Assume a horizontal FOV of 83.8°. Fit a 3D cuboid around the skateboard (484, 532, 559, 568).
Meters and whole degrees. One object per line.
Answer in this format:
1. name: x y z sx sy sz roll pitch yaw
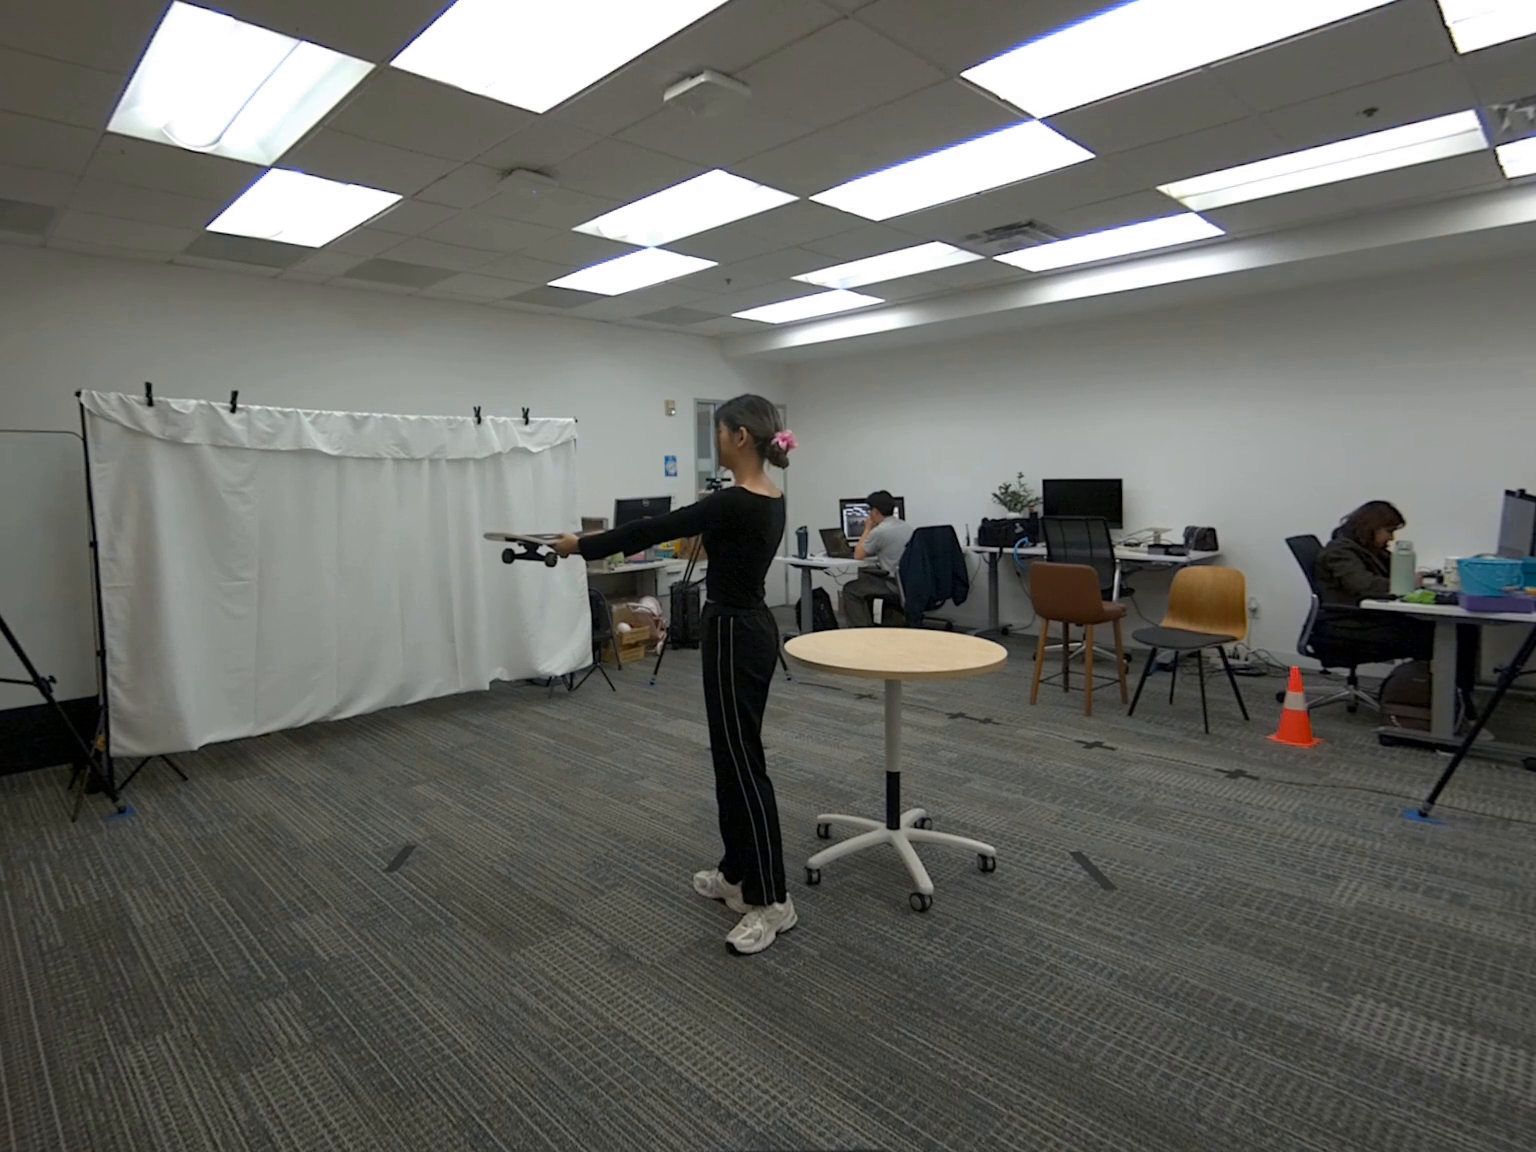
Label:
1. skateboard: -0.709 -0.098 2.919 0.196 0.110 0.775 1 4 15
